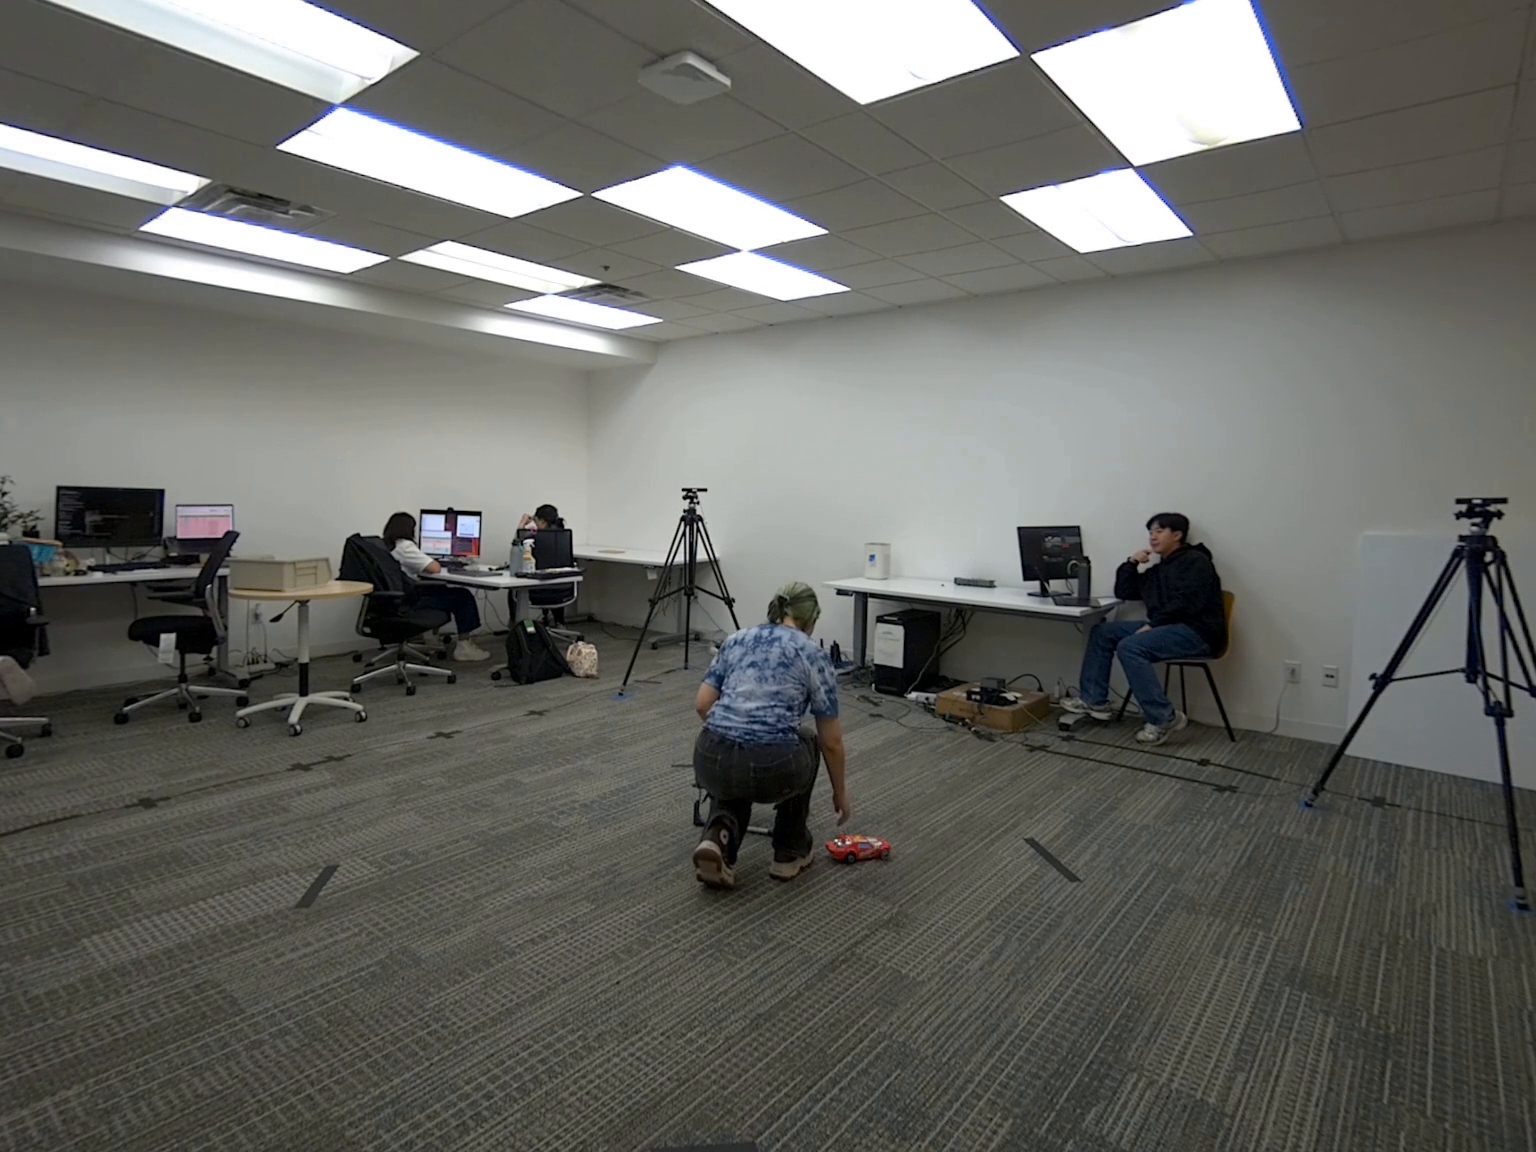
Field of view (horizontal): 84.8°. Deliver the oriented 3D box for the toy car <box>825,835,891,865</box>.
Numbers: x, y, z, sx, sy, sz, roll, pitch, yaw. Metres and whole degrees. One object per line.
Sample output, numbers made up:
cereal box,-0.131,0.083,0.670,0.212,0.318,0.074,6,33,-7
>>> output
toy car,0.331,1.040,3.235,0.249,0.083,0.133,10,2,-19
